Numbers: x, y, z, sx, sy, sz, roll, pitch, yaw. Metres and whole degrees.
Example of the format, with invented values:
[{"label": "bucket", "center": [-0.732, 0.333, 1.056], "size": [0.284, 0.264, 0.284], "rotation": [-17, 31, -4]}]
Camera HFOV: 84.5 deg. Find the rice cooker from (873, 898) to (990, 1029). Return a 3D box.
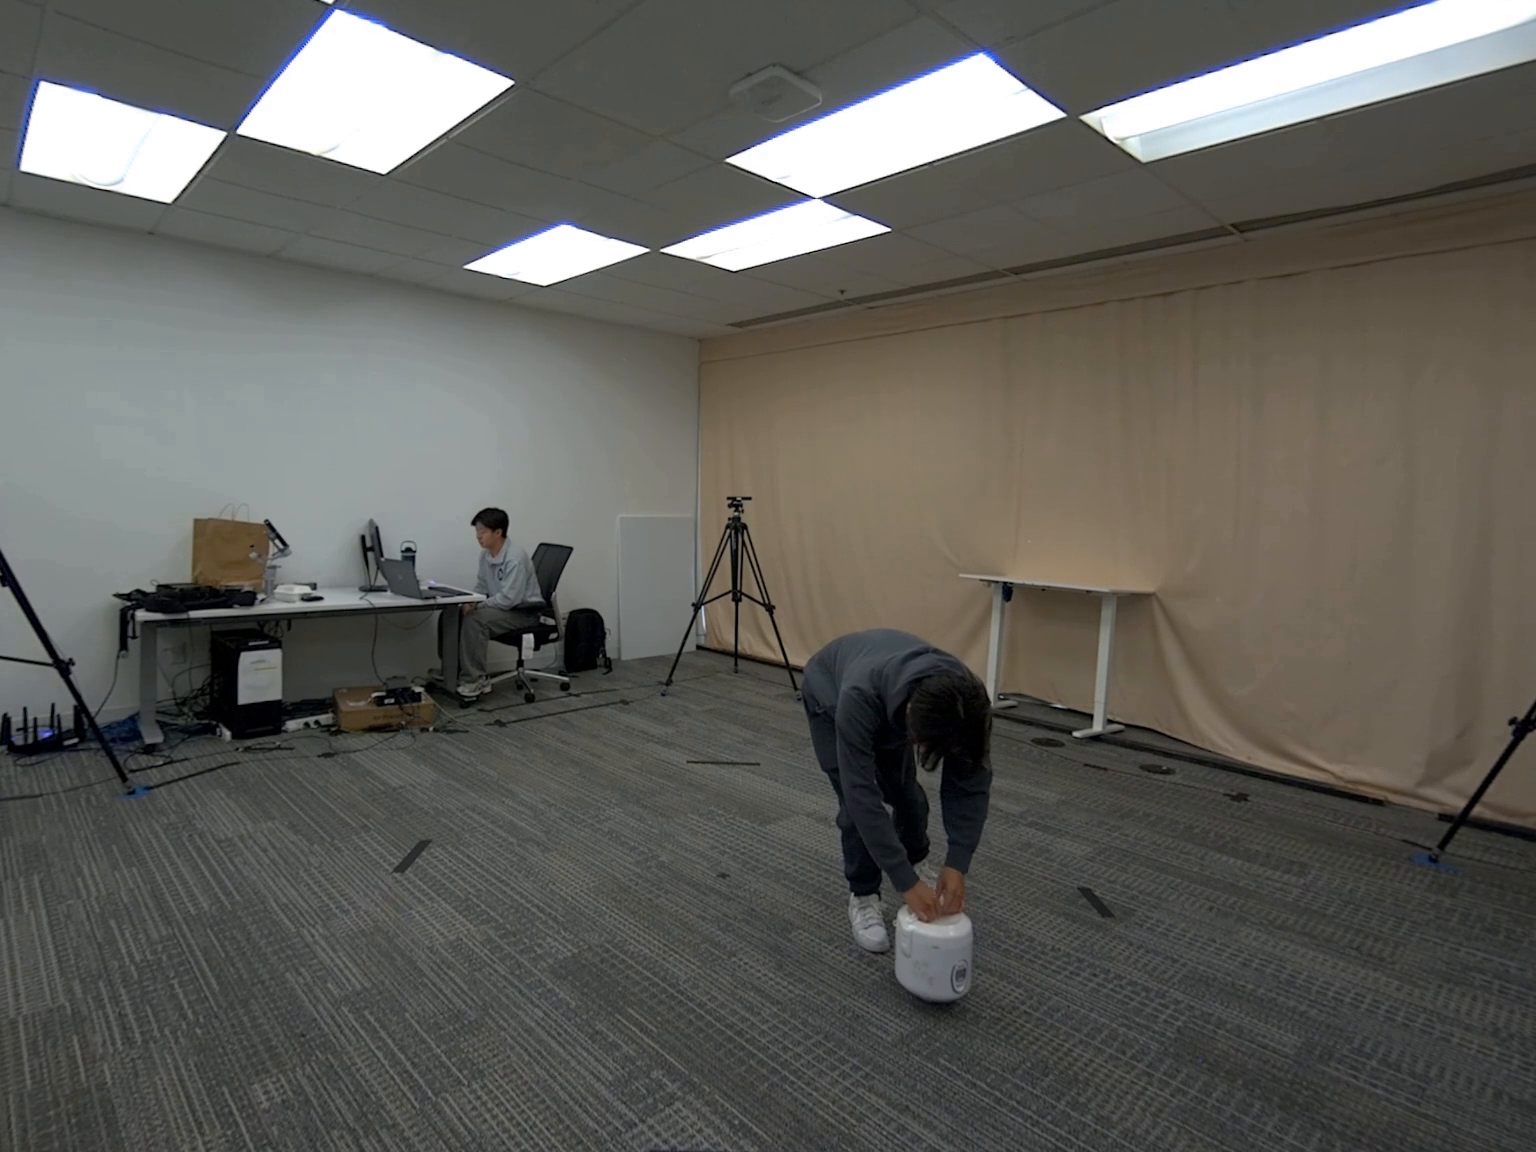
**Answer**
[{"label": "rice cooker", "center": [0.448, 1.046, 2.337], "size": [0.216, 0.232, 0.222], "rotation": [-1, 3, -28]}]
